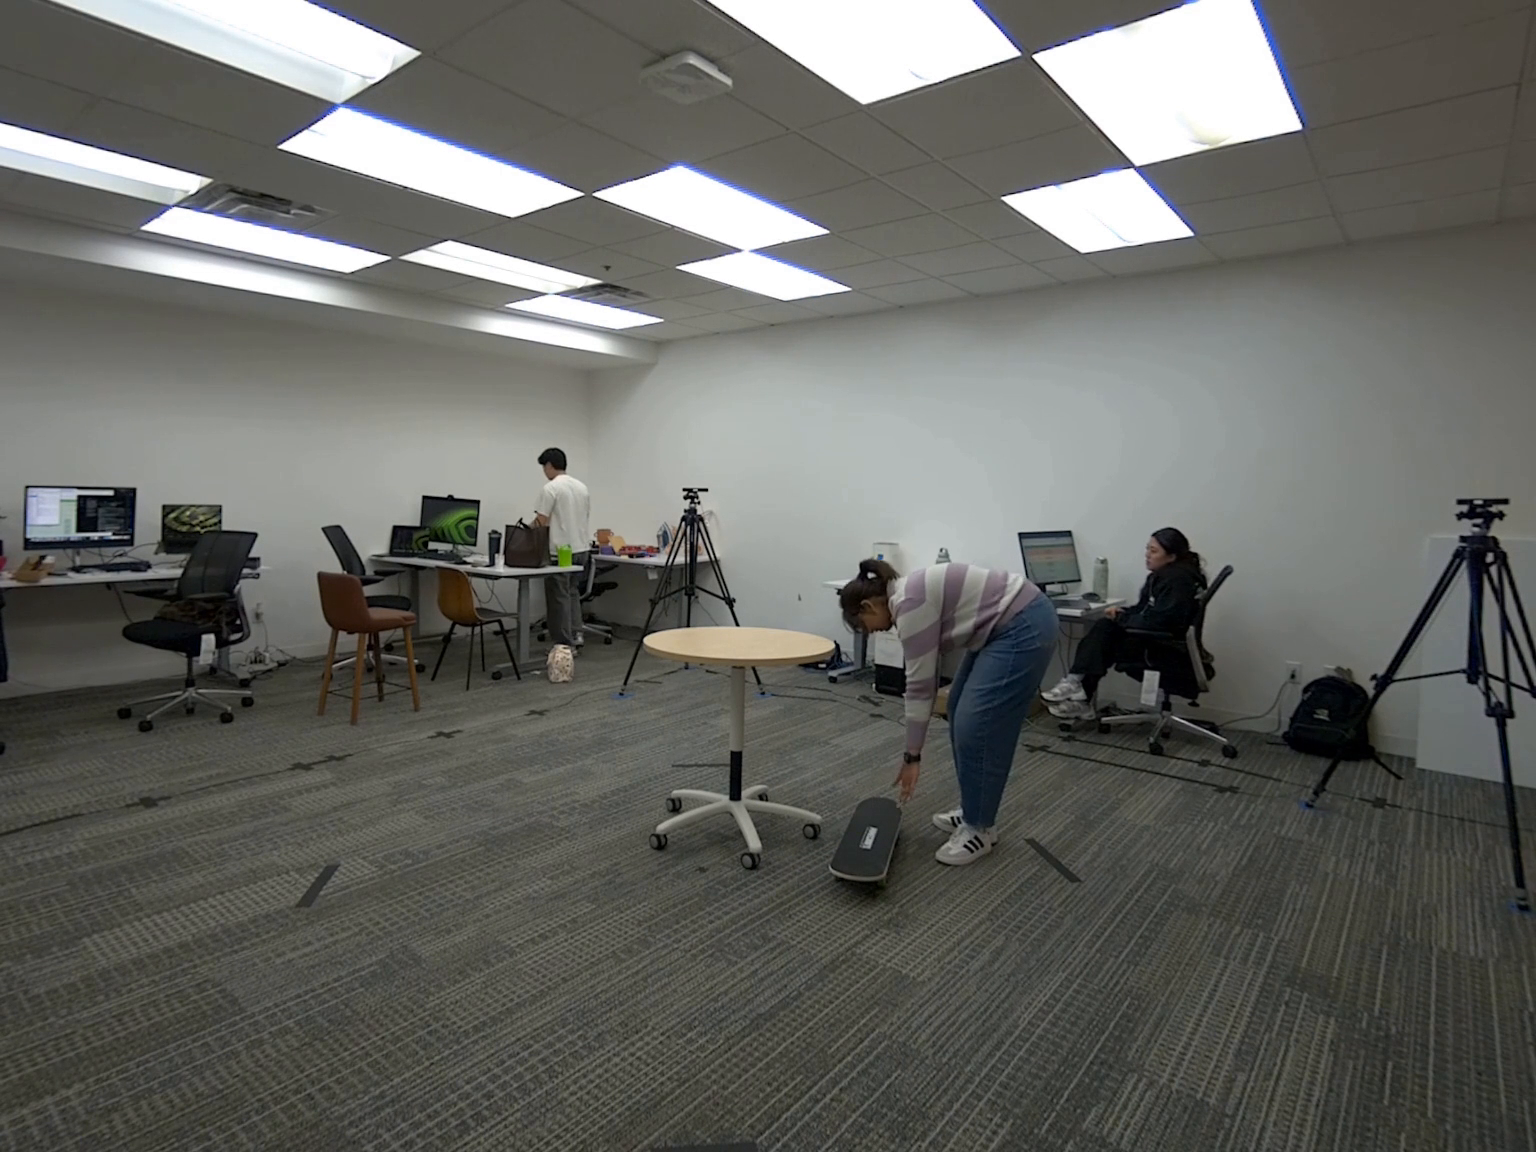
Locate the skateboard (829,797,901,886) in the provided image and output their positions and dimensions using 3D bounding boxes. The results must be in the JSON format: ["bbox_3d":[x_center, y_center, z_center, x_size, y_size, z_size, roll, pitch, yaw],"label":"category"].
[{"bbox_3d":[0.372,1.014,3.211,0.197,0.110,0.774,2,5,15],"label":"skateboard"}]
